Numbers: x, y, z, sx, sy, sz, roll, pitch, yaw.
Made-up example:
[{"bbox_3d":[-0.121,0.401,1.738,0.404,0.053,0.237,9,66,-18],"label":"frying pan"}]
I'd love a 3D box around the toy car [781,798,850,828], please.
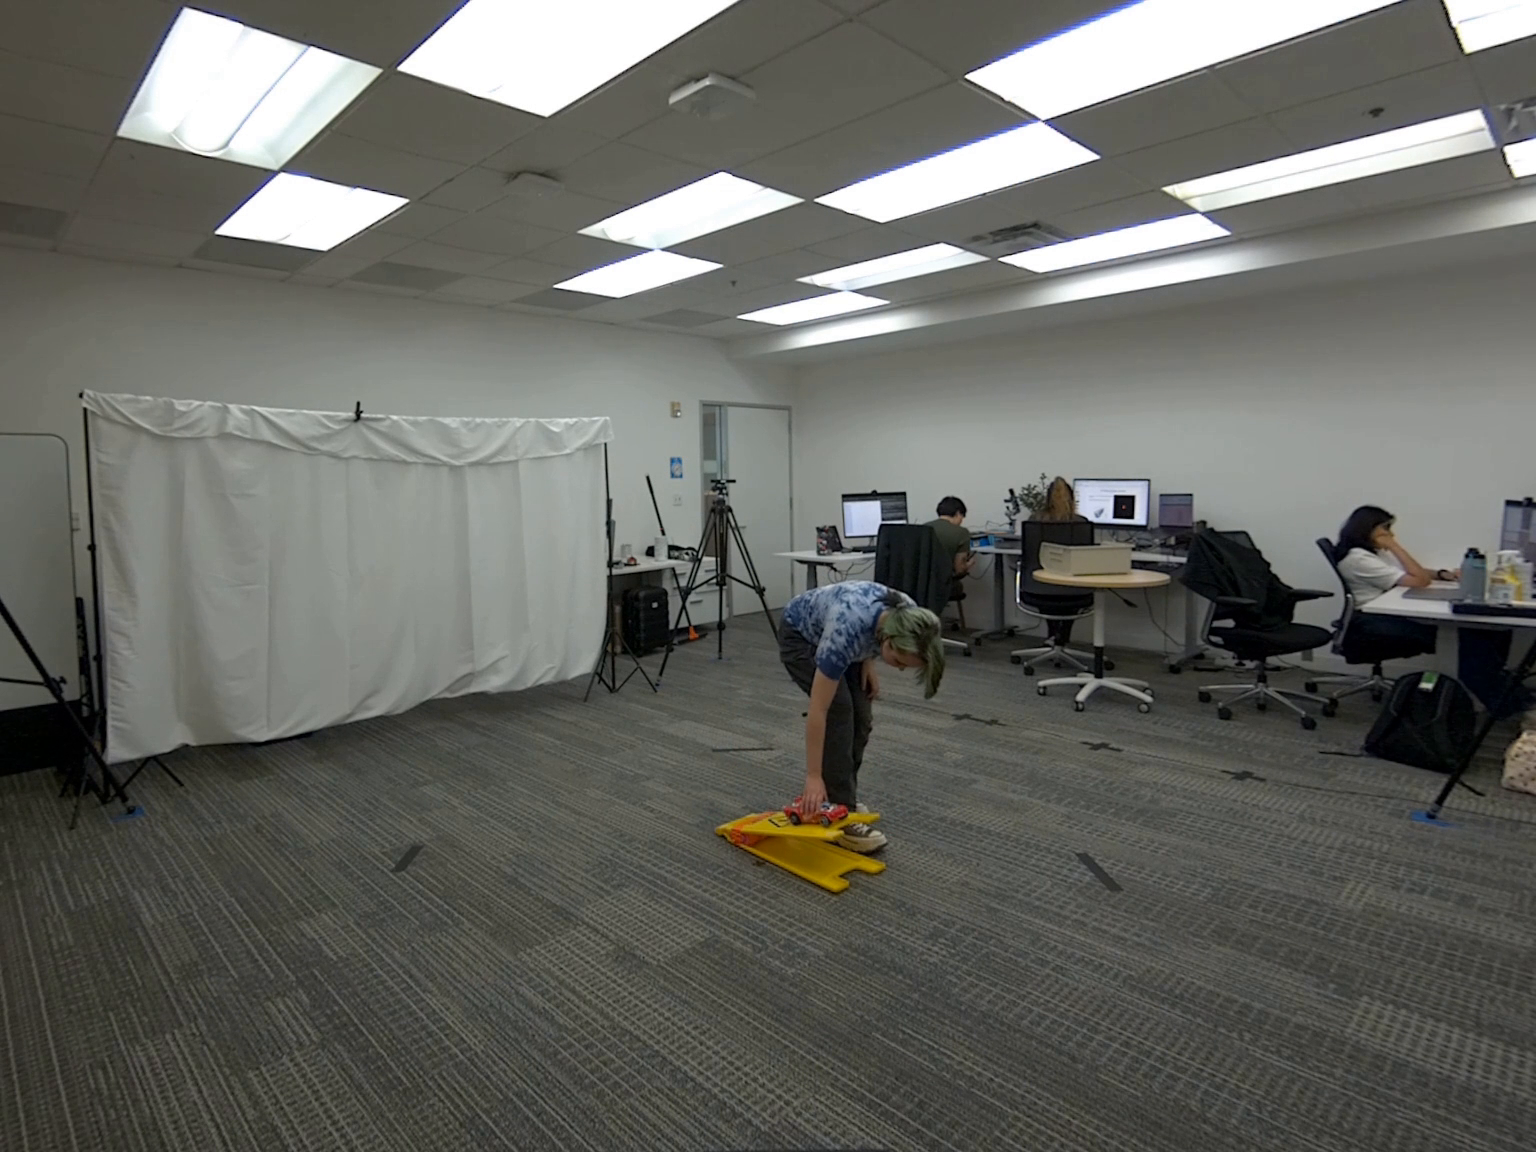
[{"bbox_3d":[0.169,0.864,3.097,0.127,0.083,0.262,-10,6,-42],"label":"toy car"}]
